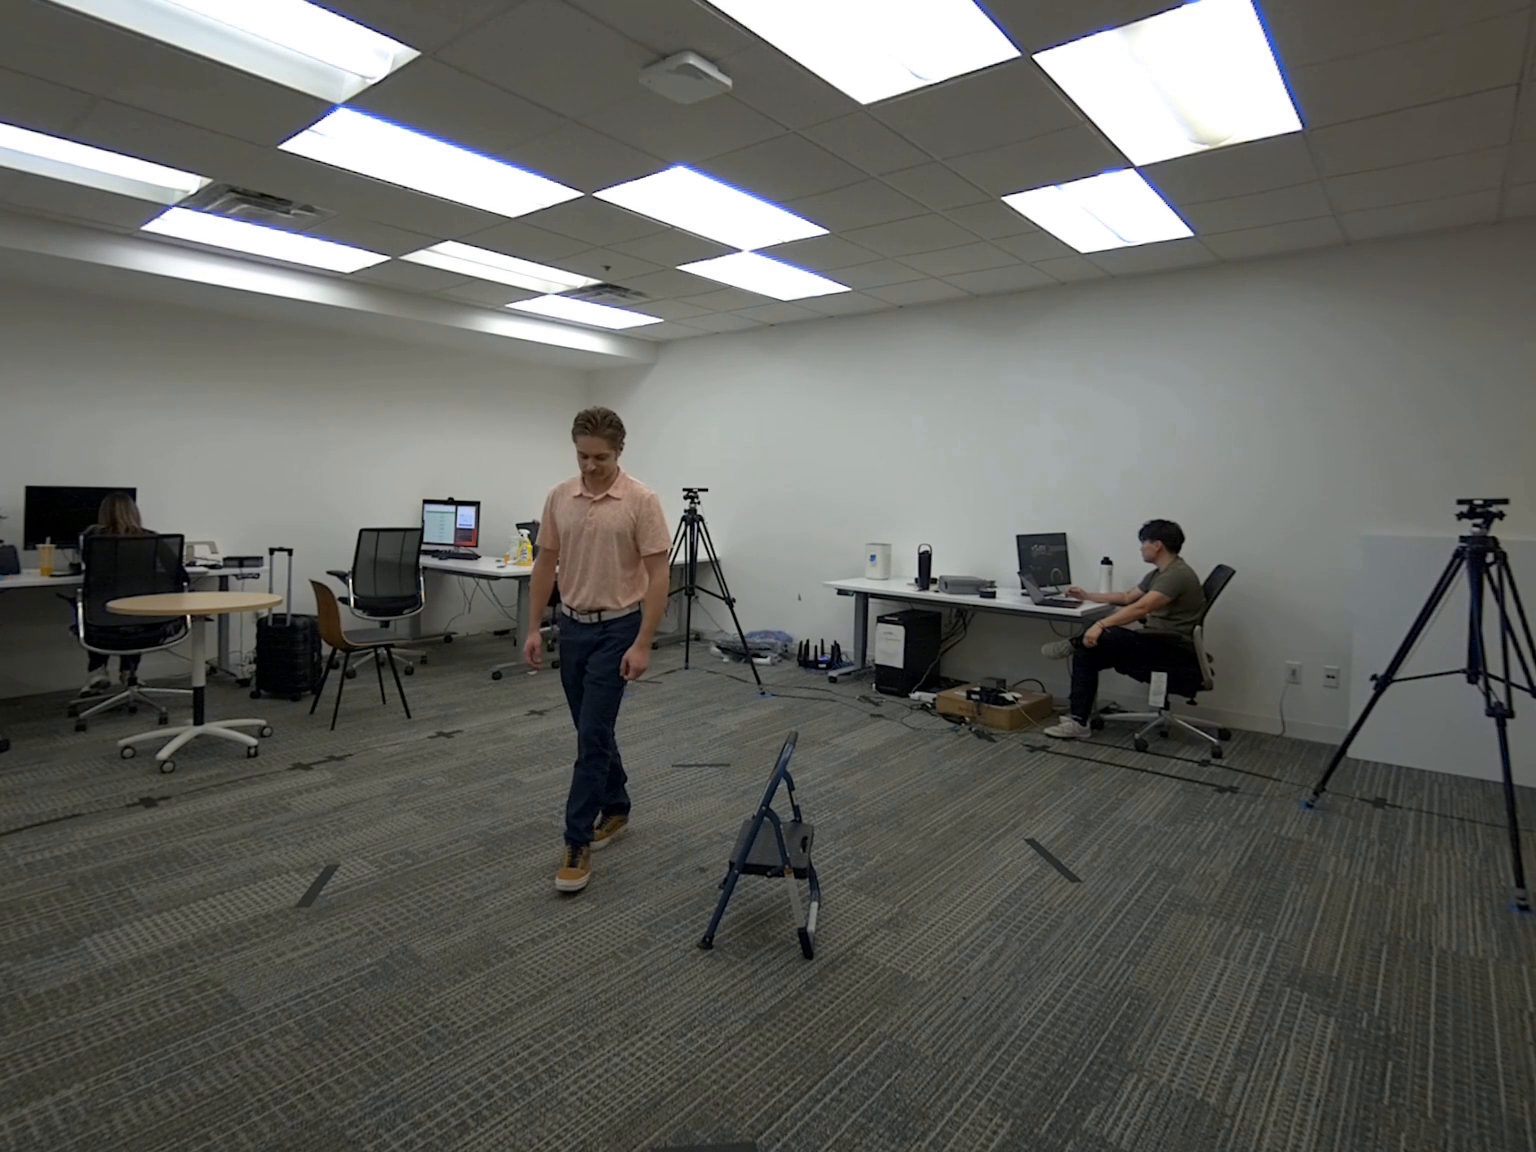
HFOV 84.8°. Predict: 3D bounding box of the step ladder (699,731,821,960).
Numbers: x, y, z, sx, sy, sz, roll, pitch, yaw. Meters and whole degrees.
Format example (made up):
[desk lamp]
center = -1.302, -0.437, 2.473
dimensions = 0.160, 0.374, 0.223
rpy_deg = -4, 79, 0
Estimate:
[step ladder]
center = -0.012, 0.808, 2.730
dimensions = 0.353, 0.604, 0.428
rpy_deg = 2, 4, 7
